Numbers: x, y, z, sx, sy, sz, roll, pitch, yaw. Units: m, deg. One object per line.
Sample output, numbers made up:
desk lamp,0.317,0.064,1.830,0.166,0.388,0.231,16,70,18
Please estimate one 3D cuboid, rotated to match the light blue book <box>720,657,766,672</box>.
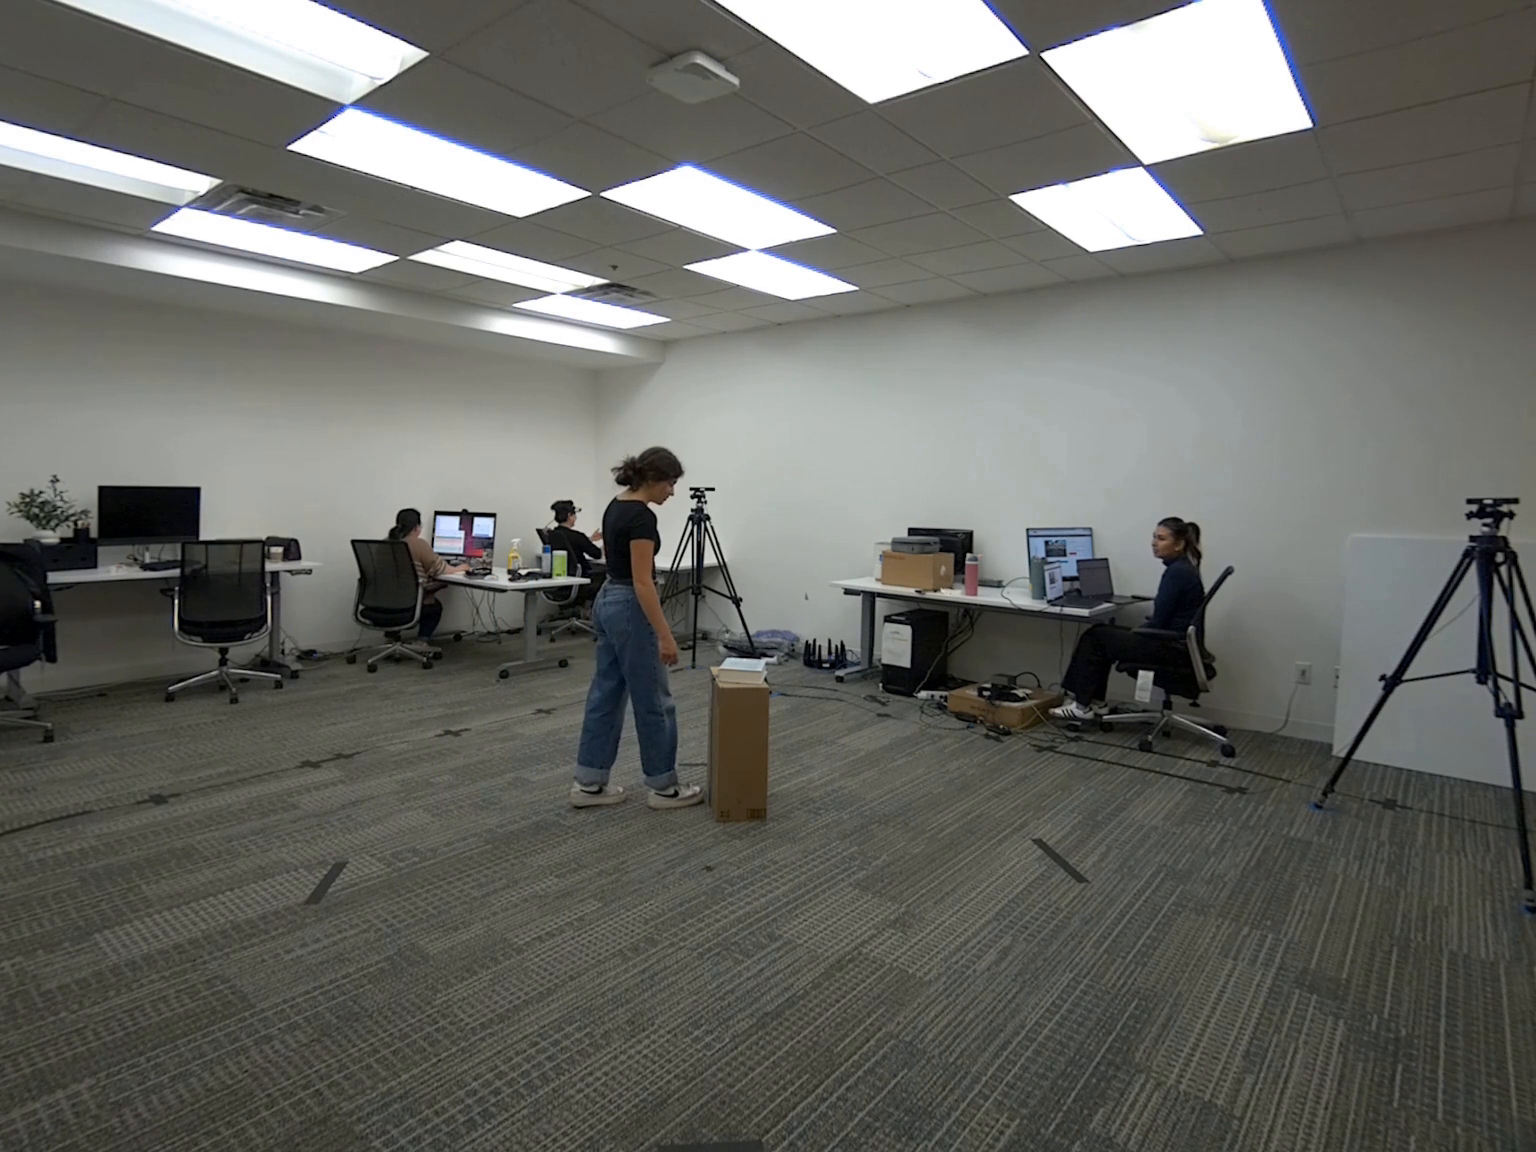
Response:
light blue book,-0.129,0.418,3.767,0.193,0.059,0.260,3,5,6
